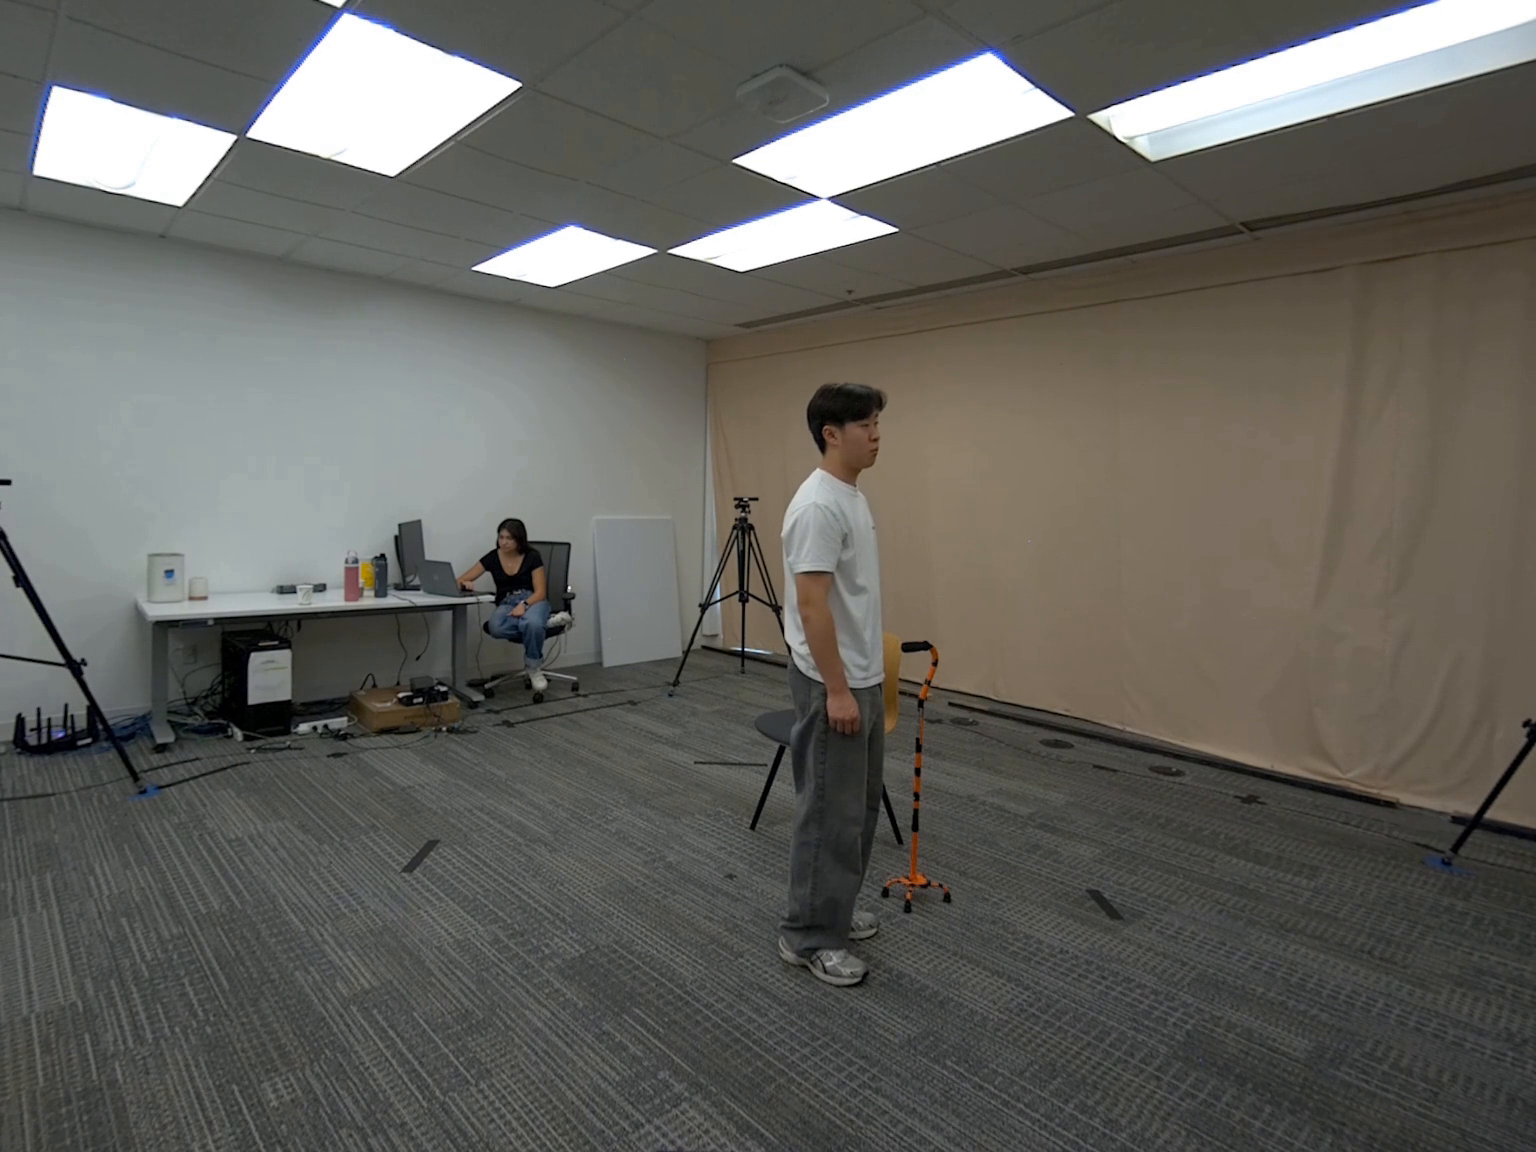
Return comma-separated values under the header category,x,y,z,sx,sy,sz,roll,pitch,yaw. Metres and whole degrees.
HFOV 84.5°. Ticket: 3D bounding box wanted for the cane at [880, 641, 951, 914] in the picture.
category,x,y,z,sx,sy,sz,roll,pitch,yaw
cane,0.537,0.688,2.935,0.202,0.906,0.155,1,2,-32
